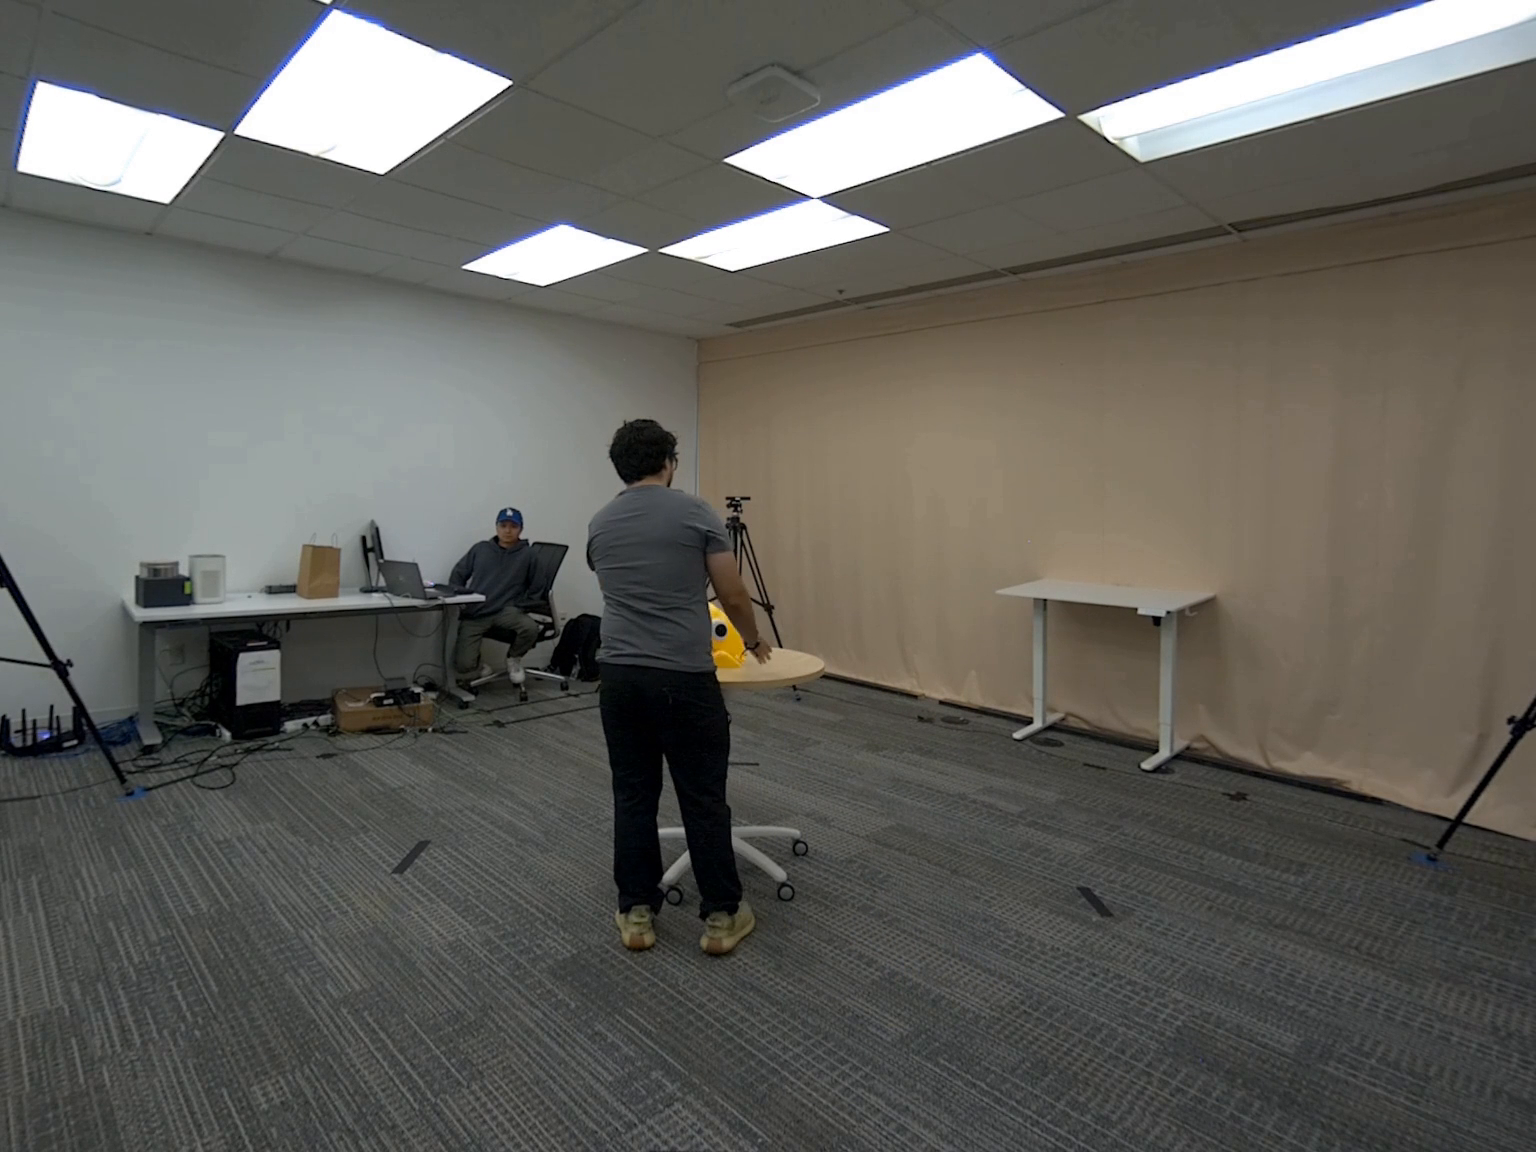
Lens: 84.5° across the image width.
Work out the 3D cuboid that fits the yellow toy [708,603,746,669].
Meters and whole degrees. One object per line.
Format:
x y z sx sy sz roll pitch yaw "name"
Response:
-0.187 0.207 3.099 0.194 0.230 0.204 2 2 6 "yellow toy"
